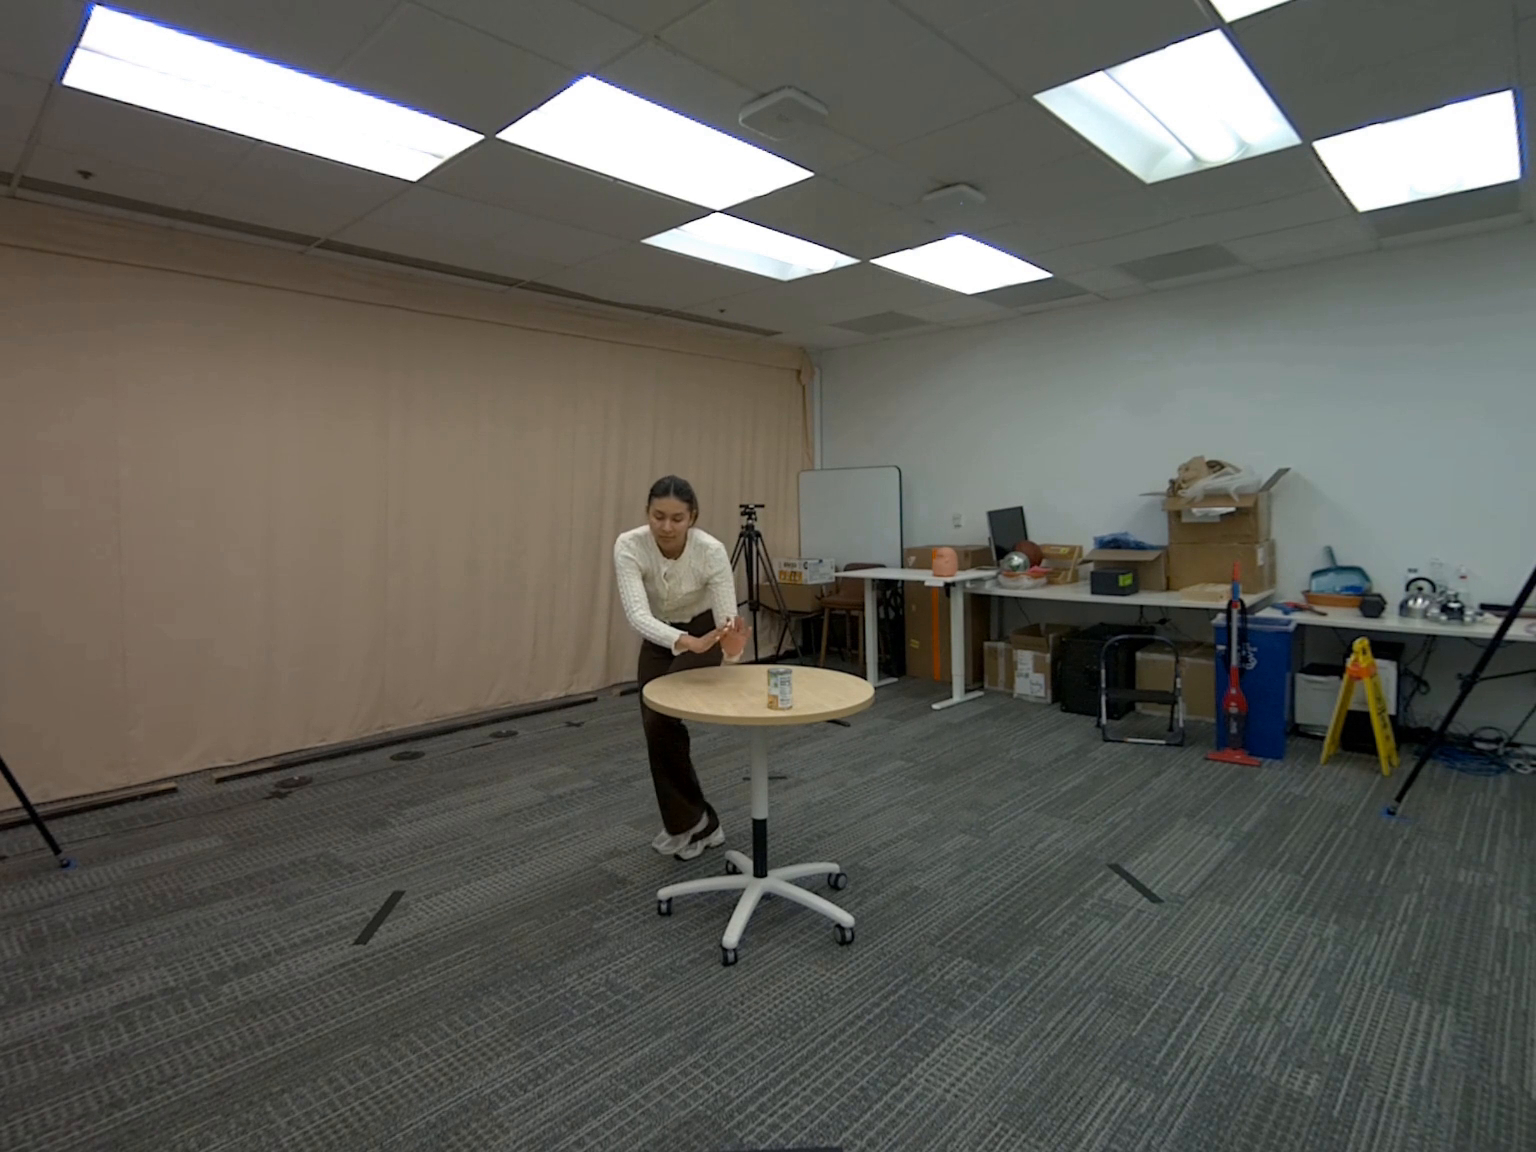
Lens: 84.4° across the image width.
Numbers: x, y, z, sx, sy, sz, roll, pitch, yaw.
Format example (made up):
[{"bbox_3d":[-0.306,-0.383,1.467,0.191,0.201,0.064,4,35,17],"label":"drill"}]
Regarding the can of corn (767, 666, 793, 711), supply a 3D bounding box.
[{"bbox_3d":[0.040,0.343,2.524,0.074,0.110,0.074,-2,7,-2],"label":"can of corn"}]
